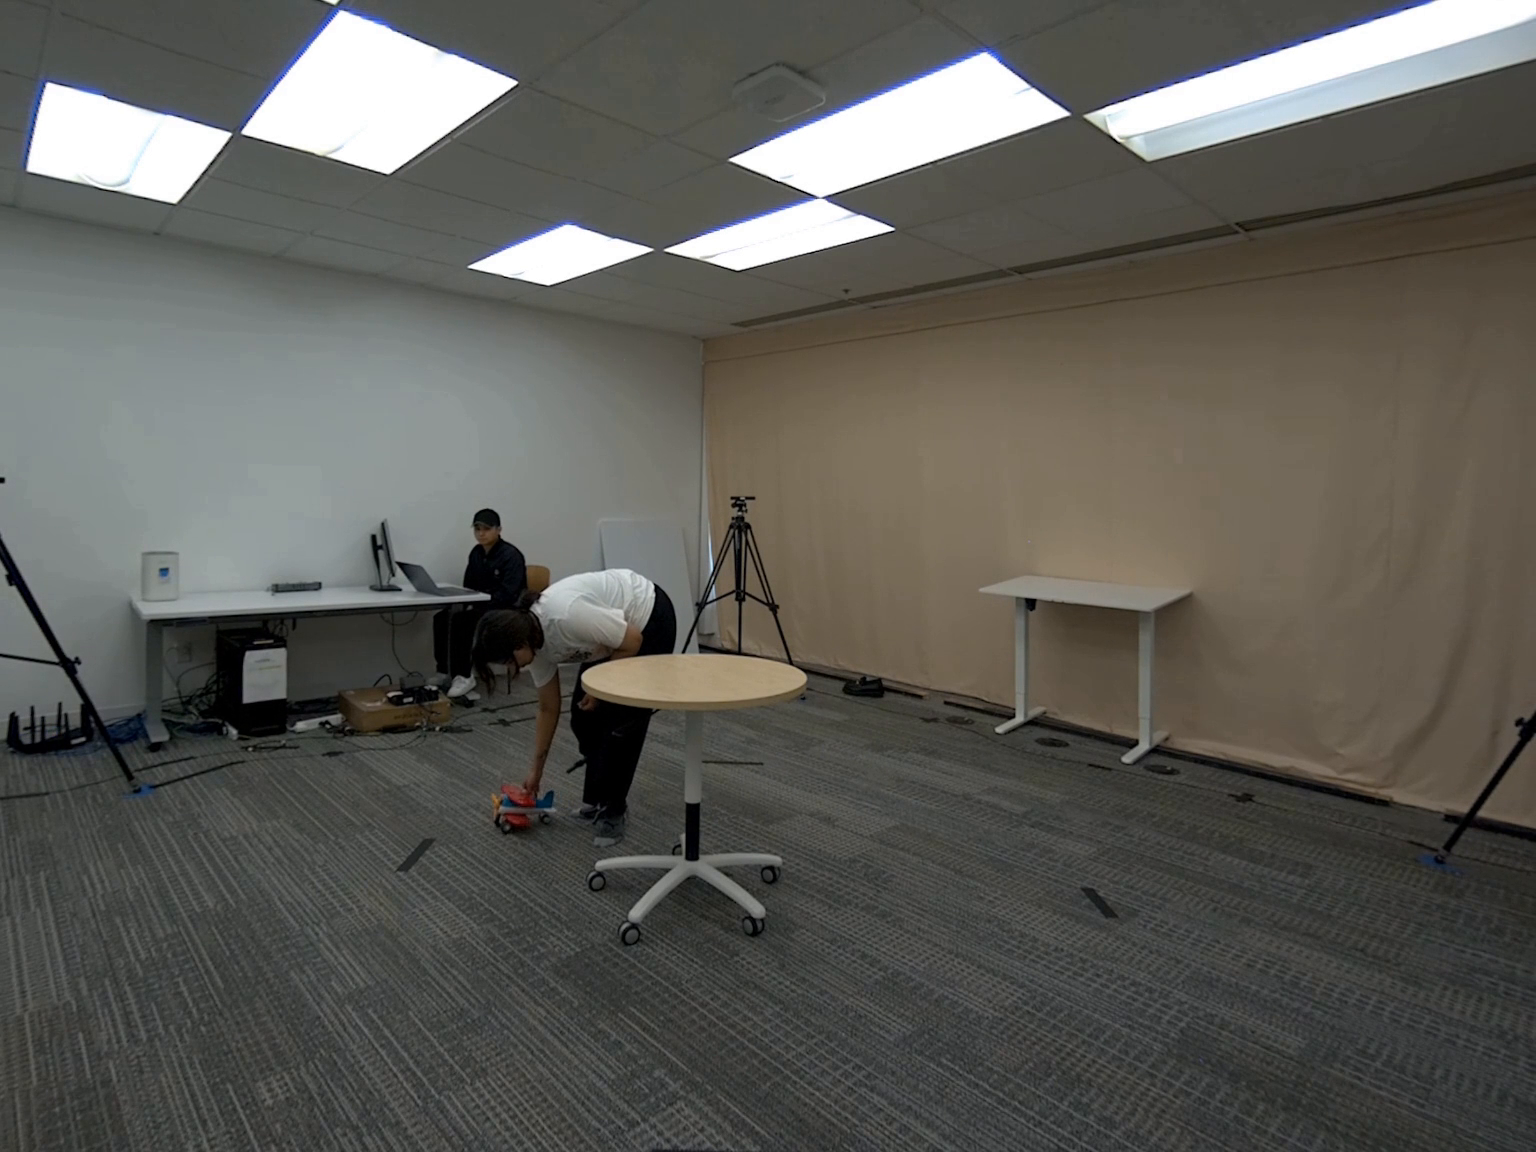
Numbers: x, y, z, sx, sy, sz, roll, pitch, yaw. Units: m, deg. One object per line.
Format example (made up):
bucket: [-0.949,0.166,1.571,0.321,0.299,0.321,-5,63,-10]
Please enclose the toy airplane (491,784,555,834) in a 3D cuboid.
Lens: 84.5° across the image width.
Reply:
toy airplane: [-1.043,0.969,3.533,0.256,0.156,0.255,3,6,27]
